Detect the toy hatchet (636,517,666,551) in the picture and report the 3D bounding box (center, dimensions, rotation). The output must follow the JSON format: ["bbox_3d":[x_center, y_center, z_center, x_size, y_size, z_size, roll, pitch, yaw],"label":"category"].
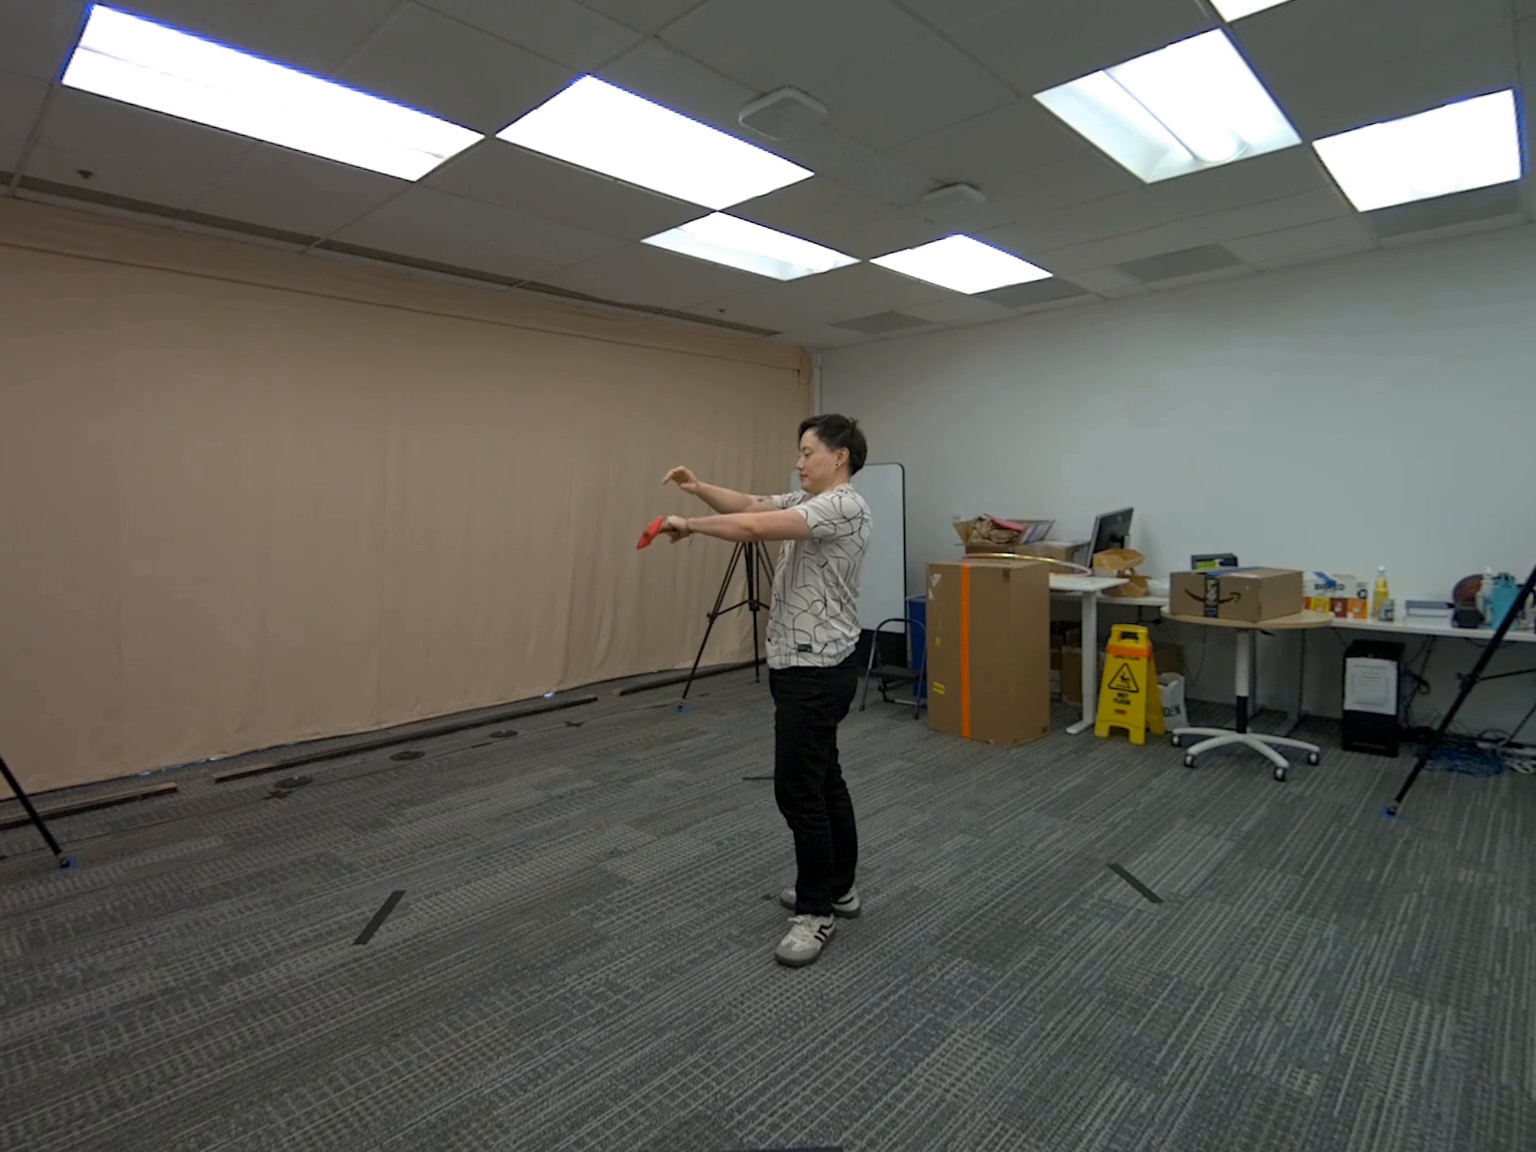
[{"bbox_3d":[-0.339,-0.120,2.643,0.030,0.131,0.266,43,1,8],"label":"toy hatchet"}]
